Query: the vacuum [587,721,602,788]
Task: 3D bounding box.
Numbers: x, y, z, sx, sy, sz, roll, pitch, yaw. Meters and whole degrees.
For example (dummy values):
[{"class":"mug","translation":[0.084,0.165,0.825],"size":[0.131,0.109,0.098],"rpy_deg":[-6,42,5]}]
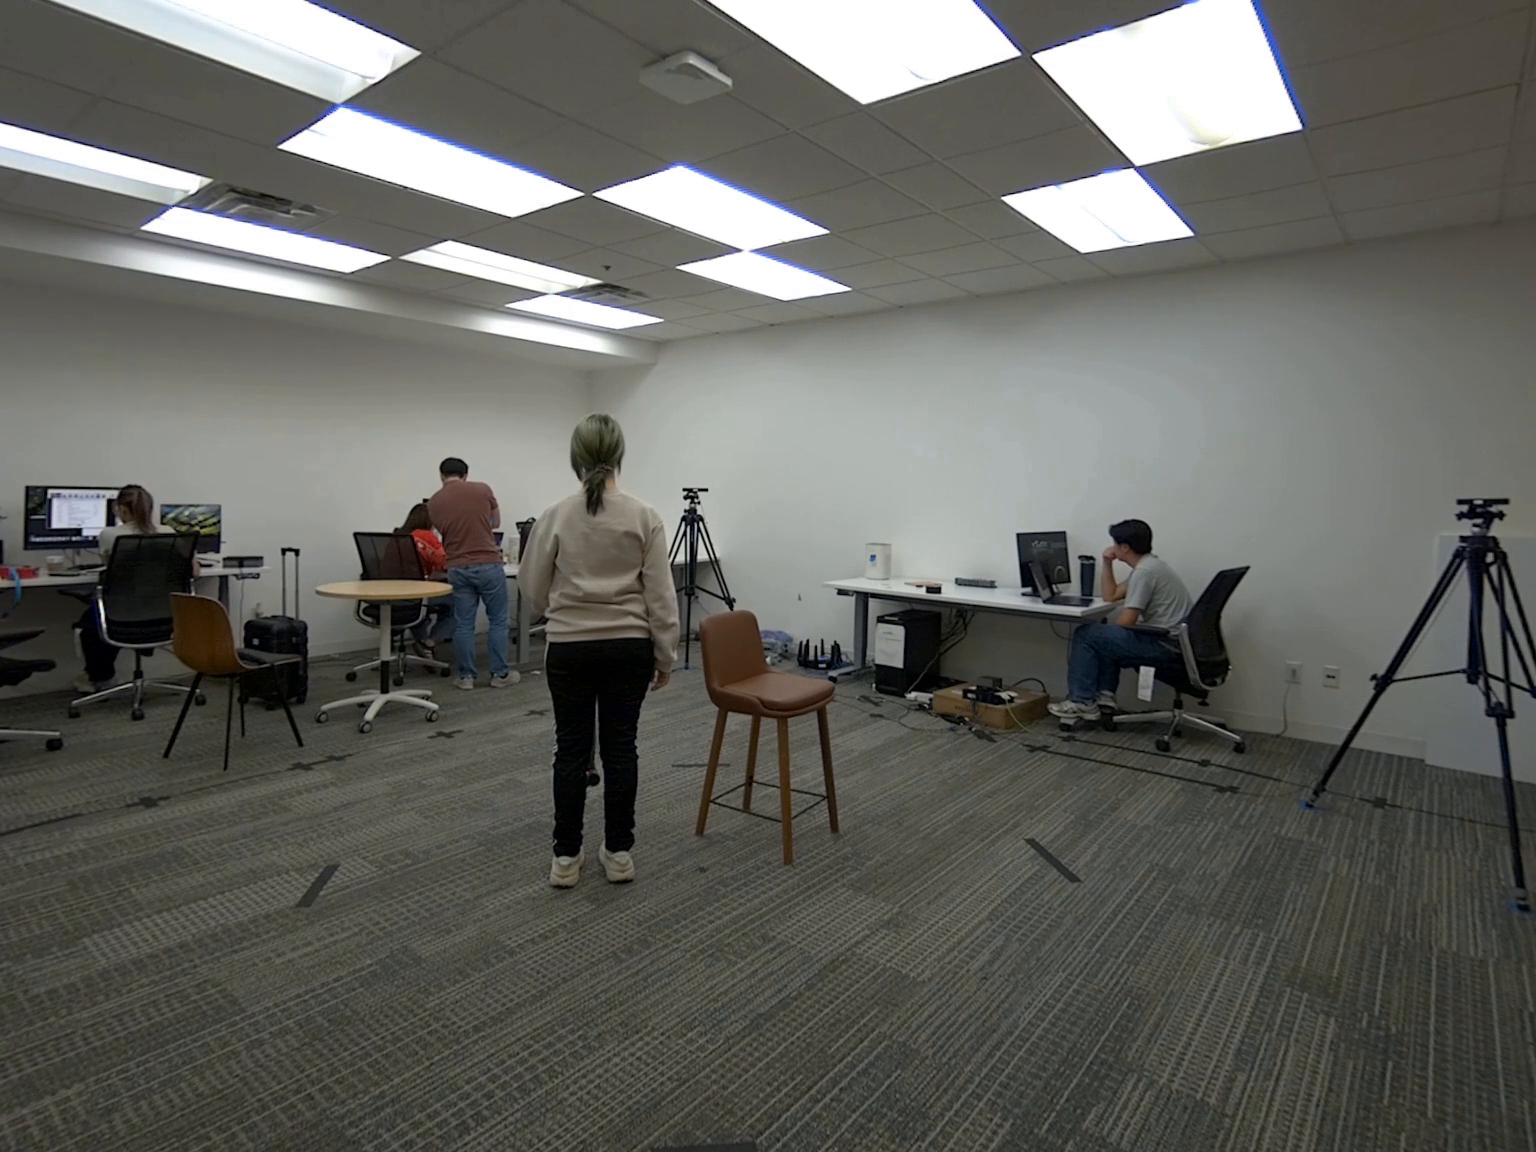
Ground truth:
[{"class":"vacuum","translation":[-0.757,0.316,3.355],"size":[0.140,1.047,0.259],"rpy_deg":[0,2,-27]}]
